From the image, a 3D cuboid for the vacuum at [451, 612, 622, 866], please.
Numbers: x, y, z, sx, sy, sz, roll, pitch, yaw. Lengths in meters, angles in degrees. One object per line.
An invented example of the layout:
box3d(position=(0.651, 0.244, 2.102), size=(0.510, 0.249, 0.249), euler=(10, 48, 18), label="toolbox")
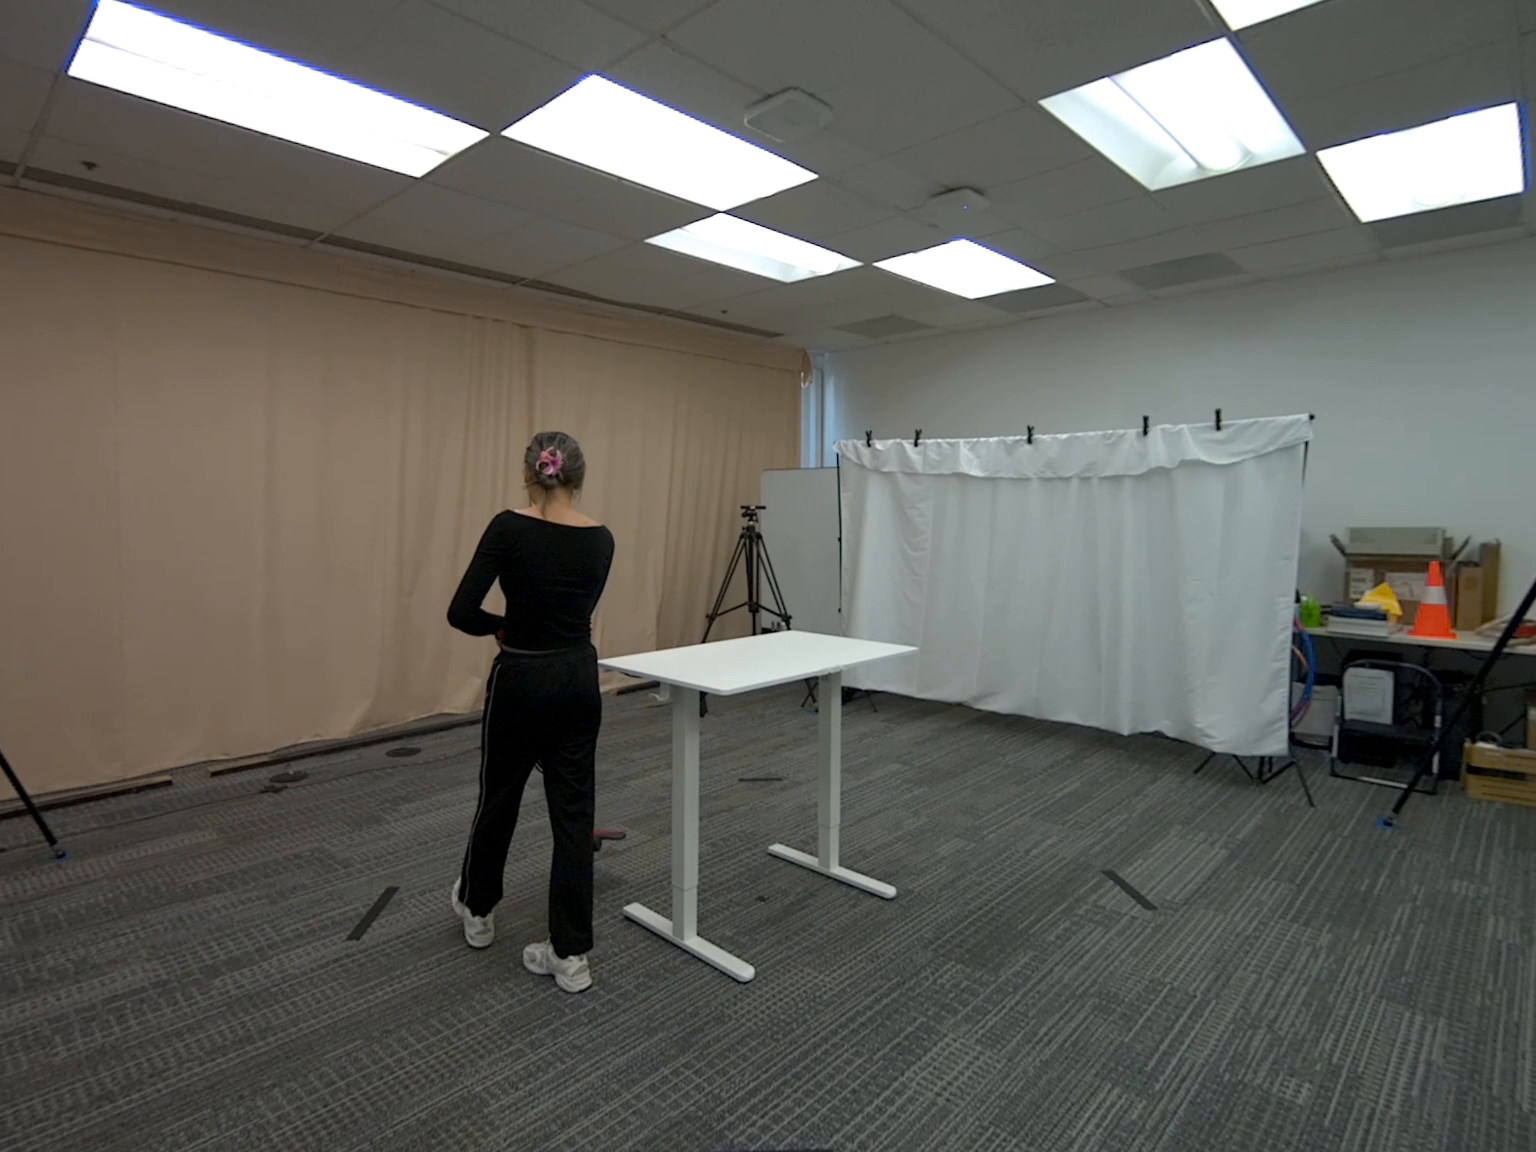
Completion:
box3d(position=(-0.727, 0.566, 2.779), size=(0.255, 1.026, 0.146), euler=(-2, 35, 9), label="vacuum")
